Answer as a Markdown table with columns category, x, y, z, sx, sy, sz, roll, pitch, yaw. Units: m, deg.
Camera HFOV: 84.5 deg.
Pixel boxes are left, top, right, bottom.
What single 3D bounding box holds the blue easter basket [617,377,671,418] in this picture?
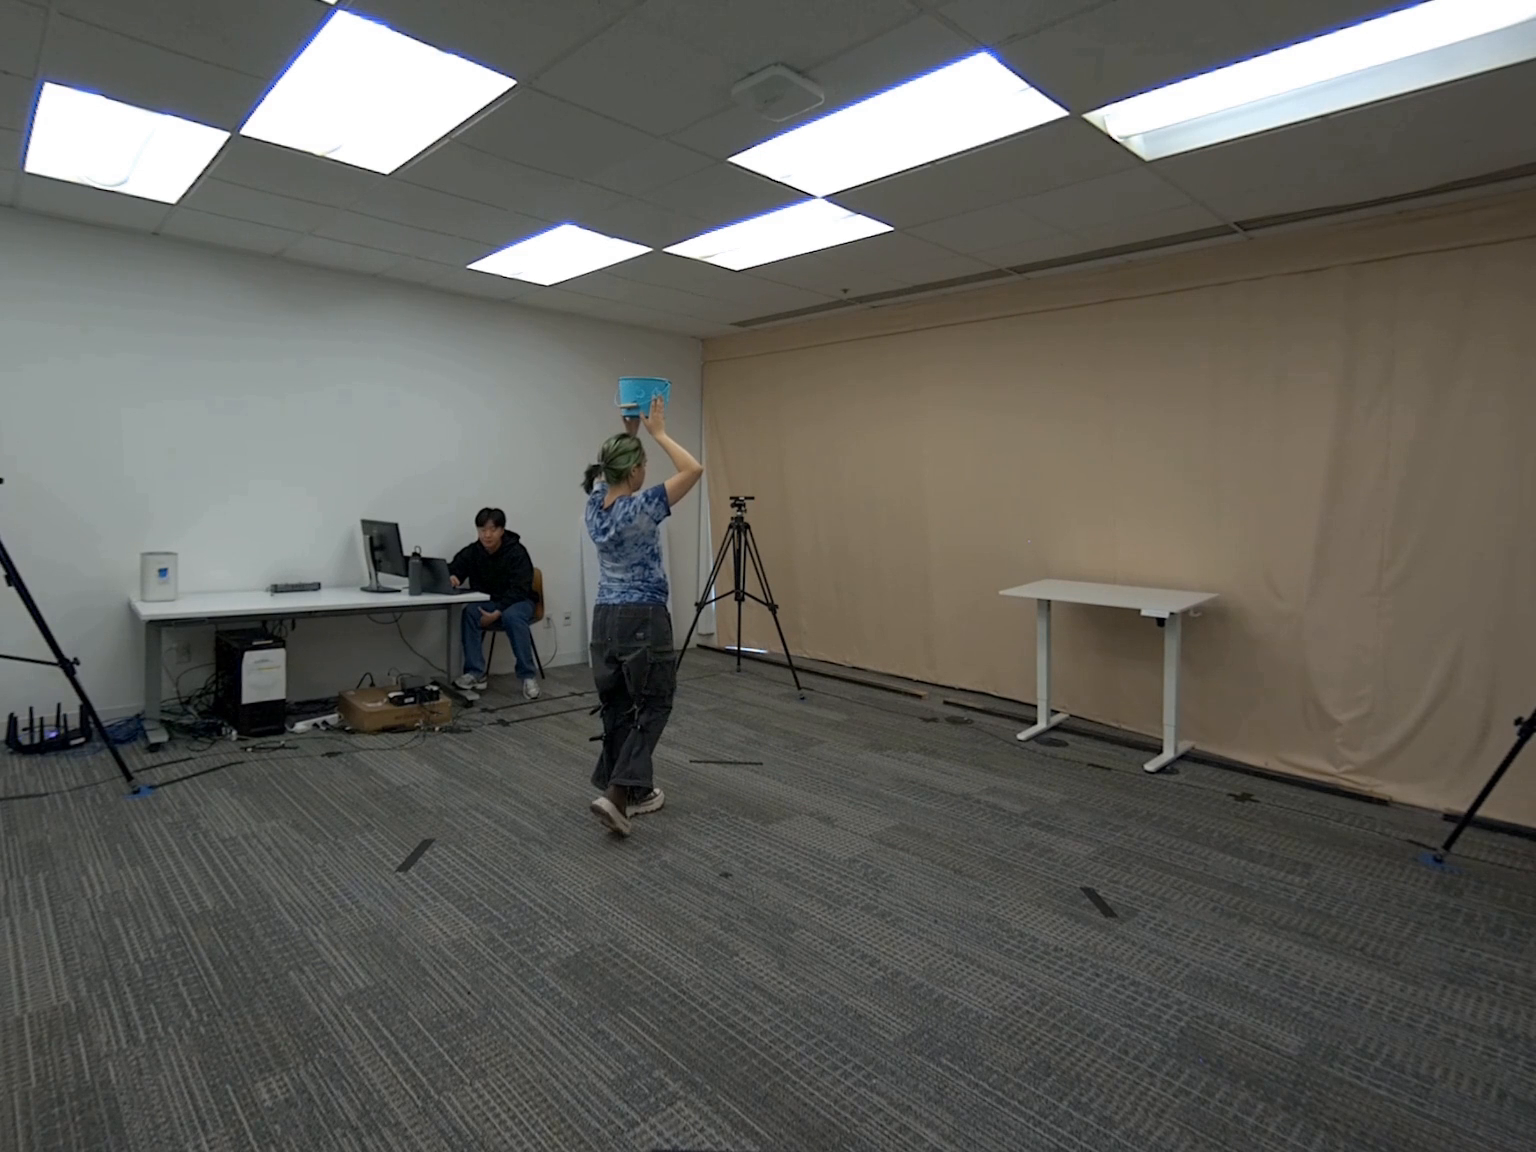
| category | x | y | z | sx | sy | sz | roll | pitch | yaw |
| --- | --- | --- | --- | --- | --- | --- | --- | --- | --- |
| blue easter basket | -0.548 | -0.756 | 3.563 | 0.243 | 0.155 | 0.244 | 4 | 3 | -2 |
